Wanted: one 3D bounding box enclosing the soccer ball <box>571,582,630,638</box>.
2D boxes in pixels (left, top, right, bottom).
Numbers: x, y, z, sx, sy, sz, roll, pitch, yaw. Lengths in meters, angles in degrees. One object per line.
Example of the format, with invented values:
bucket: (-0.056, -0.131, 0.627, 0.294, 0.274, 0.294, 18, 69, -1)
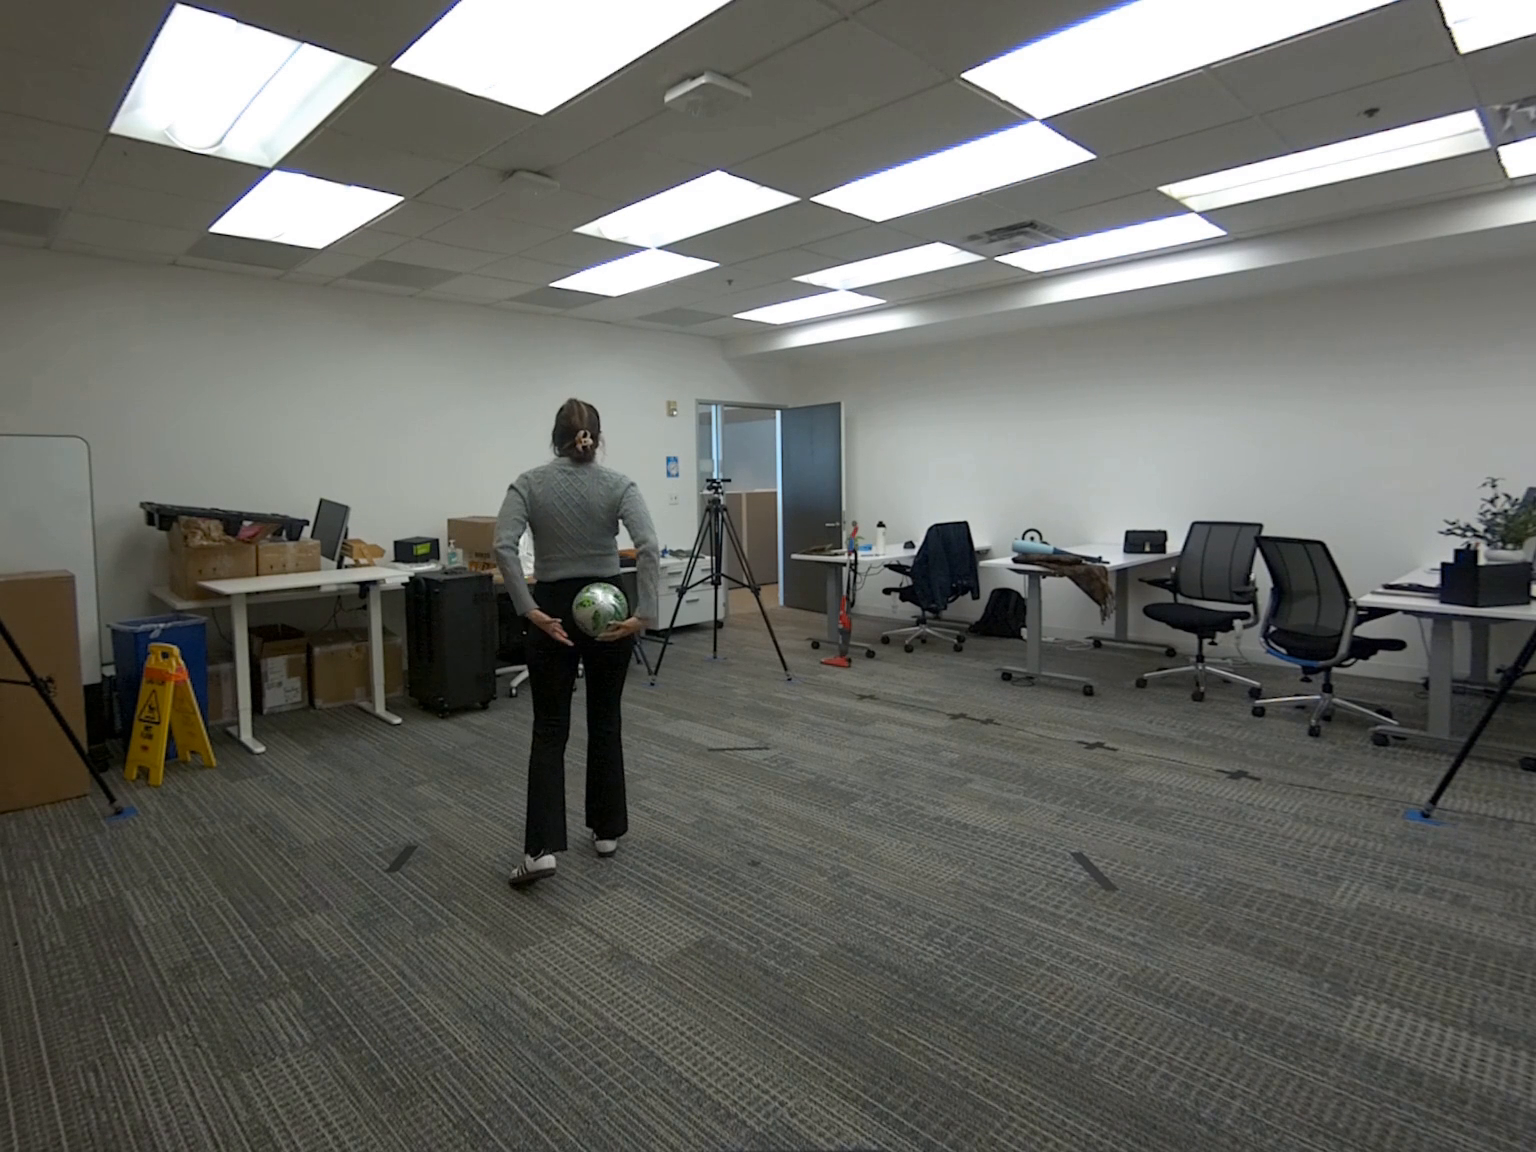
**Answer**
soccer ball: (-0.583, 0.119, 2.937, 0.187, 0.187, 0.188, -1, 5, -2)
